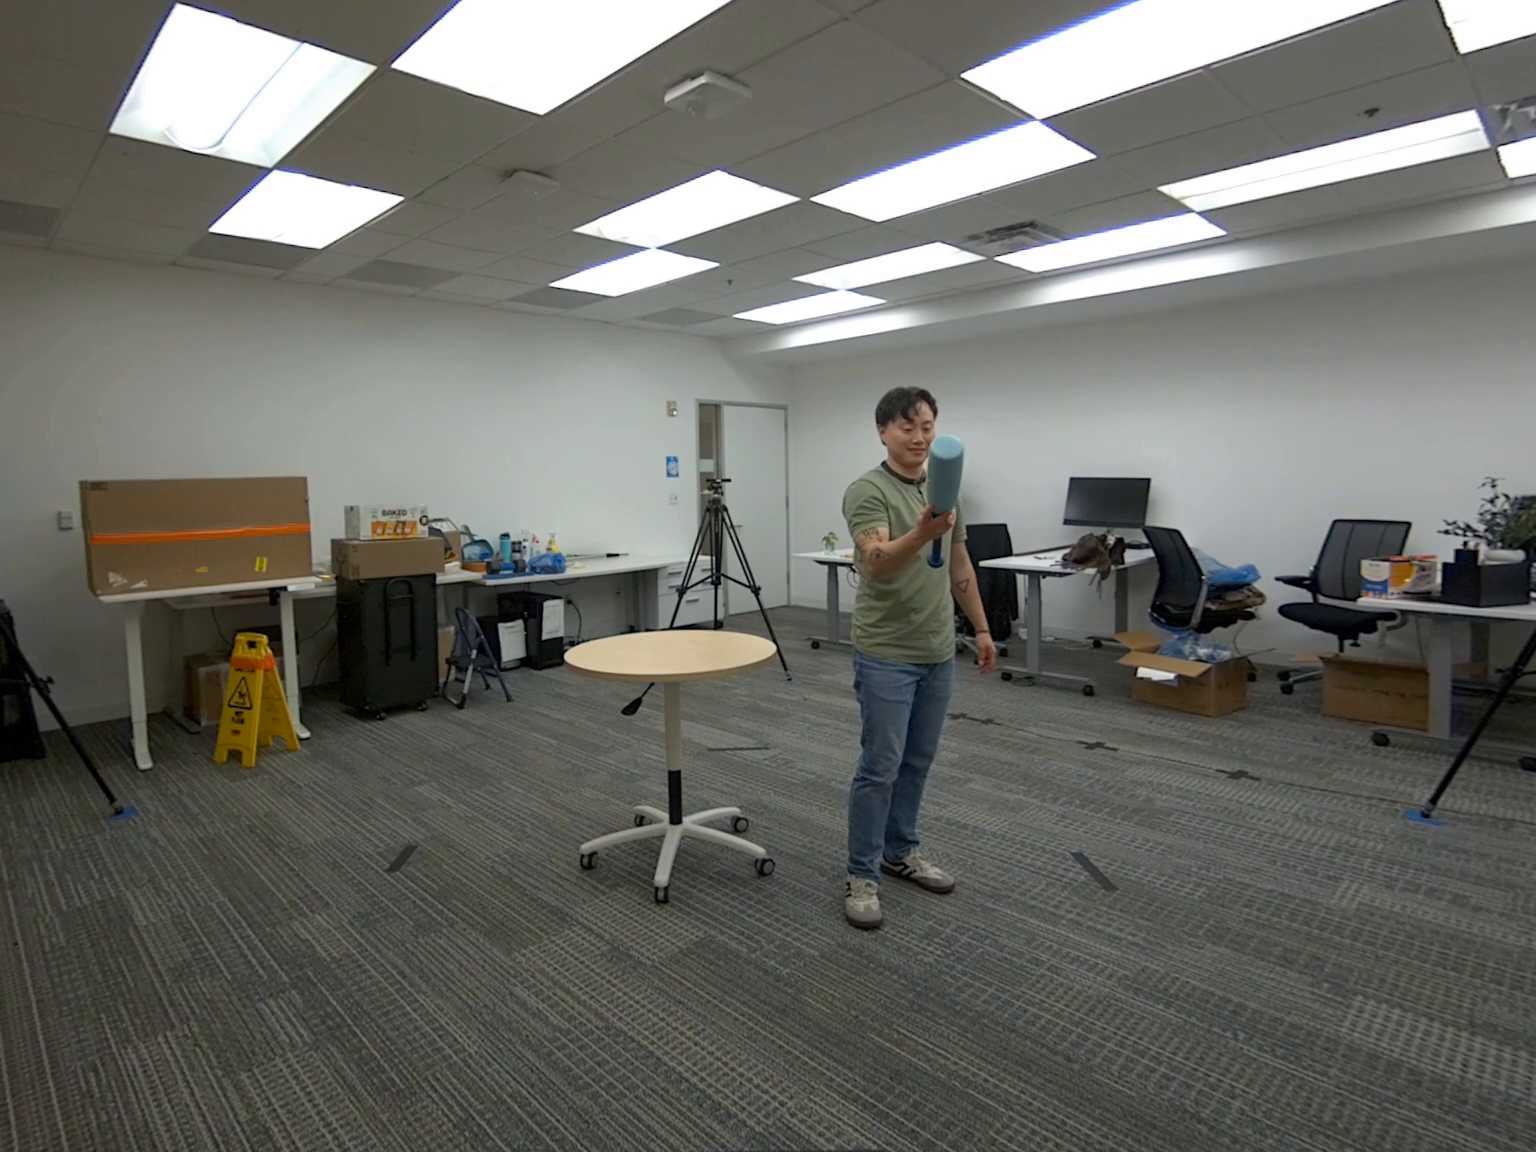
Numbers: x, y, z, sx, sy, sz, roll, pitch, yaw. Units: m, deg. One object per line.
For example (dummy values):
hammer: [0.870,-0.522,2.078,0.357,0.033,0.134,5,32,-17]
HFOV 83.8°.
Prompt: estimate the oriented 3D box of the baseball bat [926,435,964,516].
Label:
baseball bat: [0.472,-0.180,2.333,0.089,0.091,0.527,0,-33,5]
